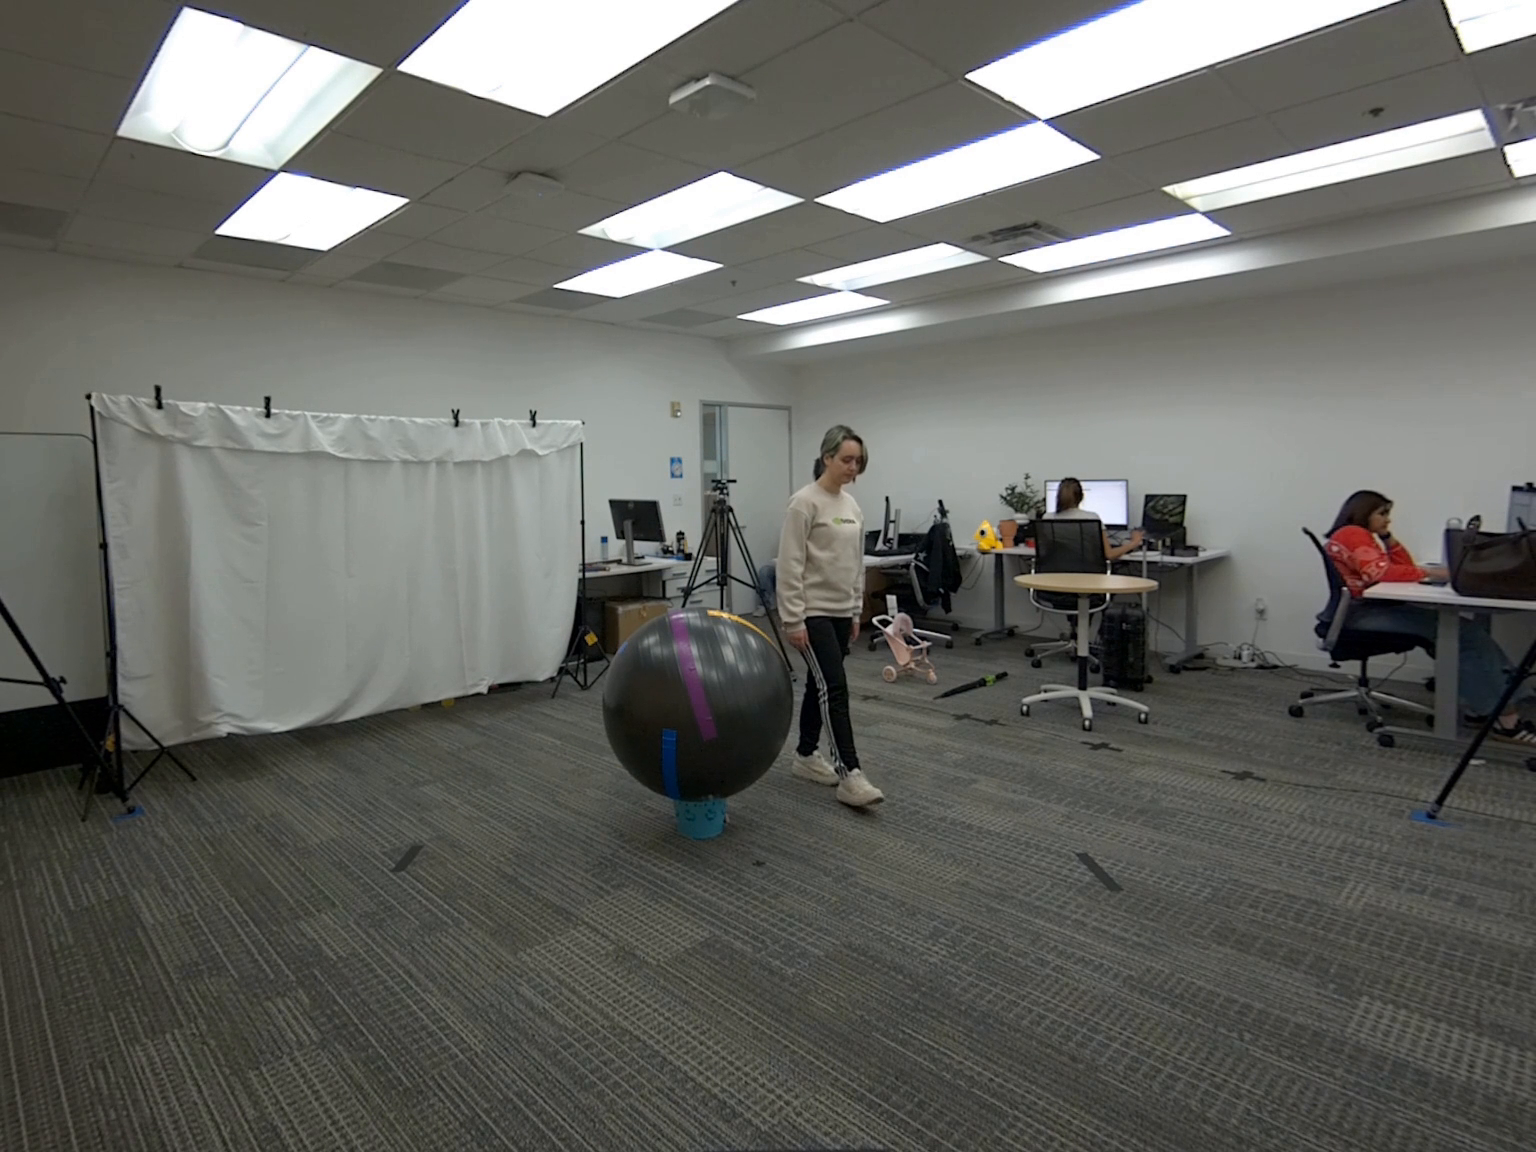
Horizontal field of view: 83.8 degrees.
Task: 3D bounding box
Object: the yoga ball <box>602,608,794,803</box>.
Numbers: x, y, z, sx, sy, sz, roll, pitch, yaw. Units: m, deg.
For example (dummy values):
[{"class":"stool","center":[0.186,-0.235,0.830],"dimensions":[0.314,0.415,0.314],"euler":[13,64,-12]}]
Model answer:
[{"class":"yoga ball","center":[-0.277,0.507,3.402],"dimensions":[0.757,0.755,0.762],"euler":[-1,5,-2]}]
